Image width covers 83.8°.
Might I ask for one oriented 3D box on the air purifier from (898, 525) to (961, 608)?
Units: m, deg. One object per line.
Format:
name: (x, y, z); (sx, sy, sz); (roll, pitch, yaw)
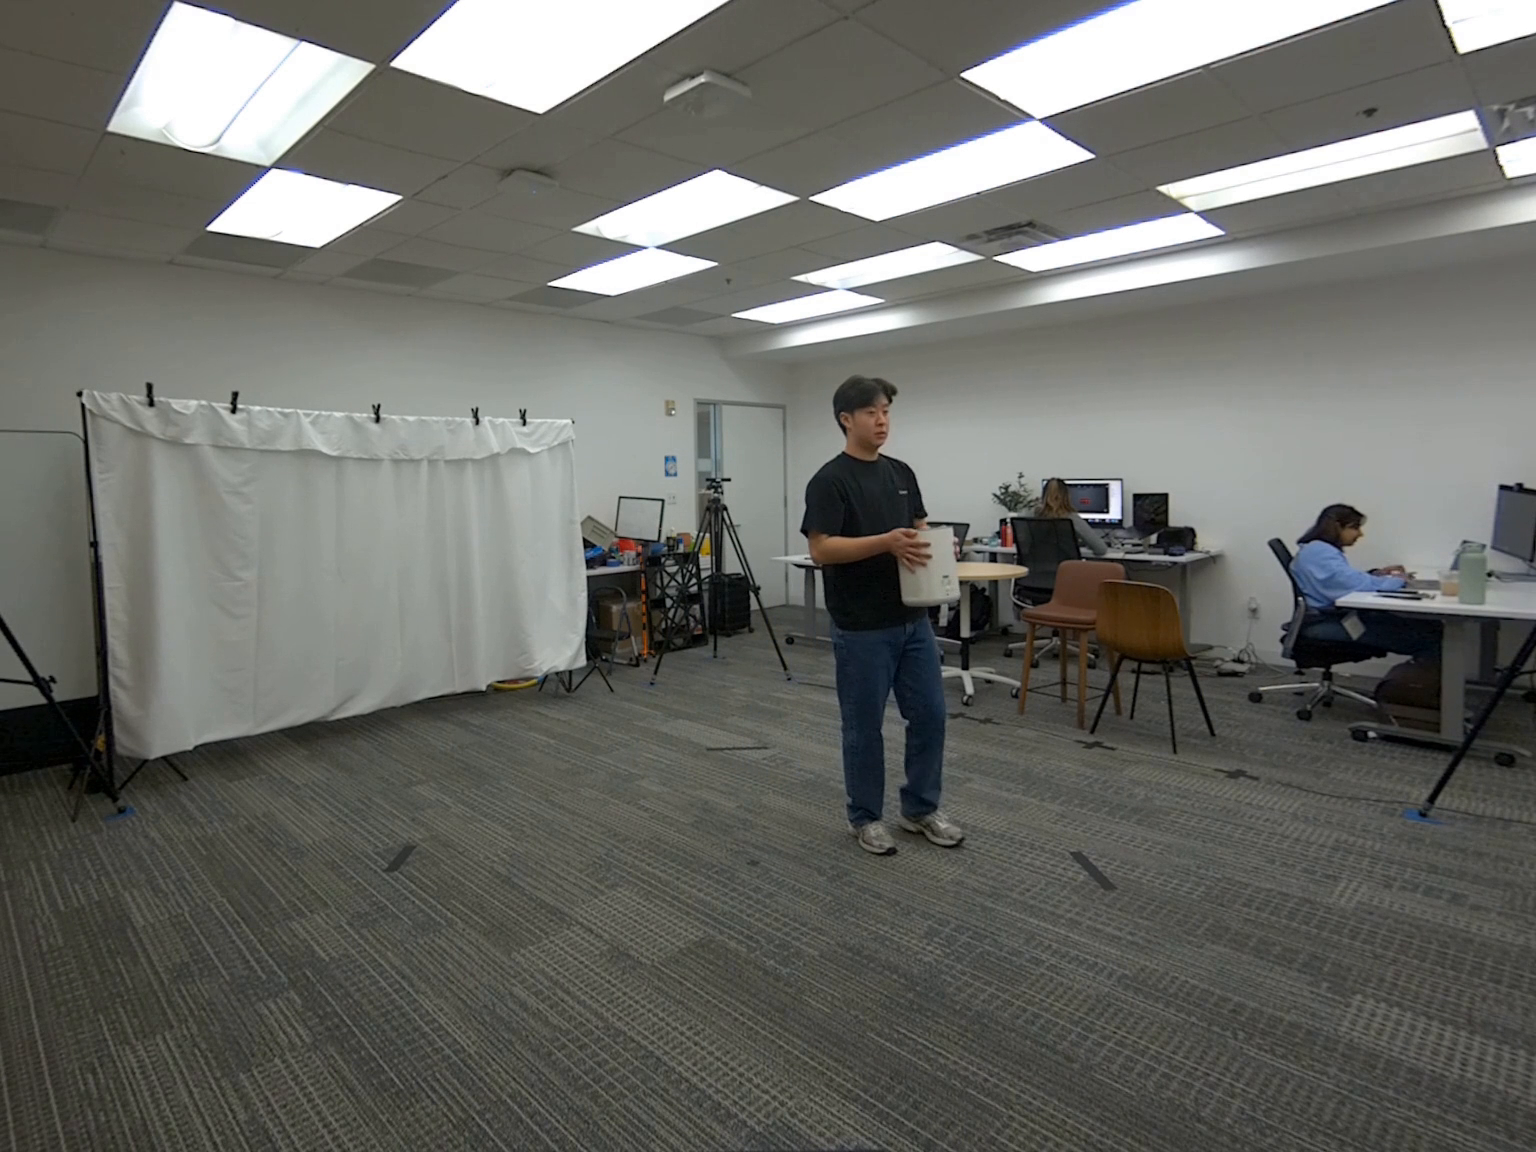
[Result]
air purifier: (0.549, -0.029, 2.993); (0.167, 0.266, 0.175); (-6, -2, -31)
